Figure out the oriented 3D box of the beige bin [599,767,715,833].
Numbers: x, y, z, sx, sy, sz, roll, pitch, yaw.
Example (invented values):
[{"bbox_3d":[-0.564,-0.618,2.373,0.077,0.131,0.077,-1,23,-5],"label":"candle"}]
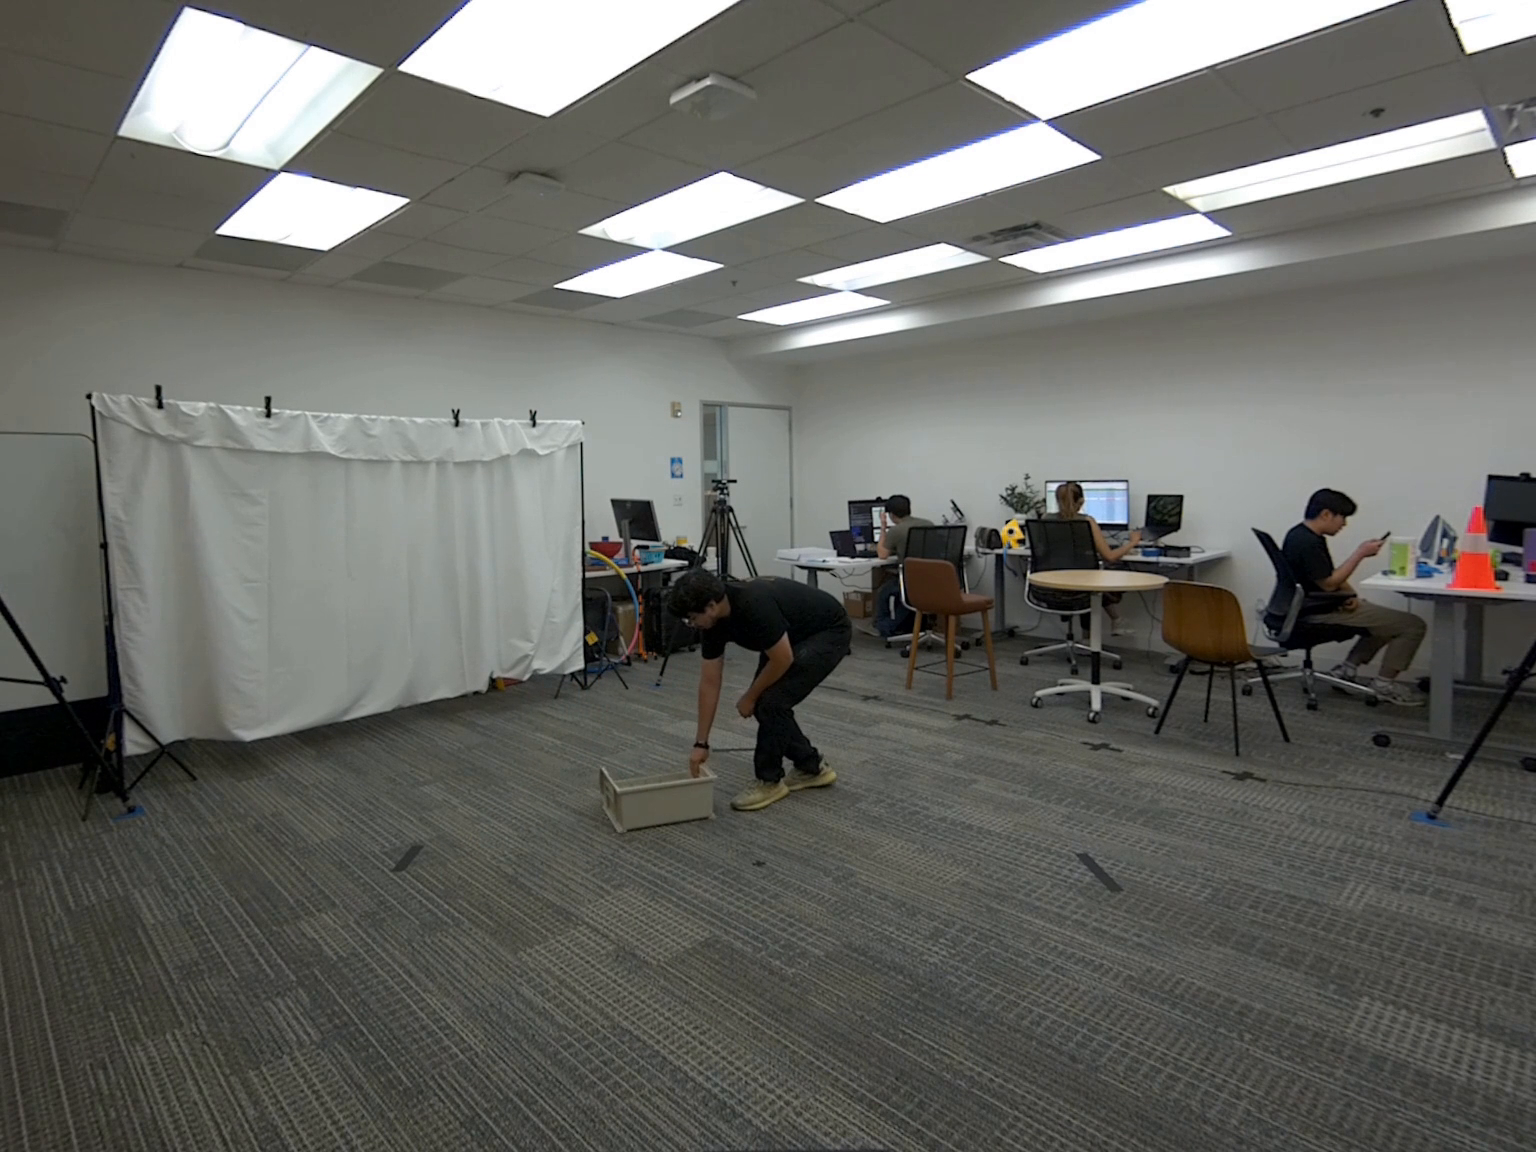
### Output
[{"bbox_3d":[-0.473,0.909,3.628,0.414,0.188,0.386,-3,7,-22],"label":"beige bin"}]
